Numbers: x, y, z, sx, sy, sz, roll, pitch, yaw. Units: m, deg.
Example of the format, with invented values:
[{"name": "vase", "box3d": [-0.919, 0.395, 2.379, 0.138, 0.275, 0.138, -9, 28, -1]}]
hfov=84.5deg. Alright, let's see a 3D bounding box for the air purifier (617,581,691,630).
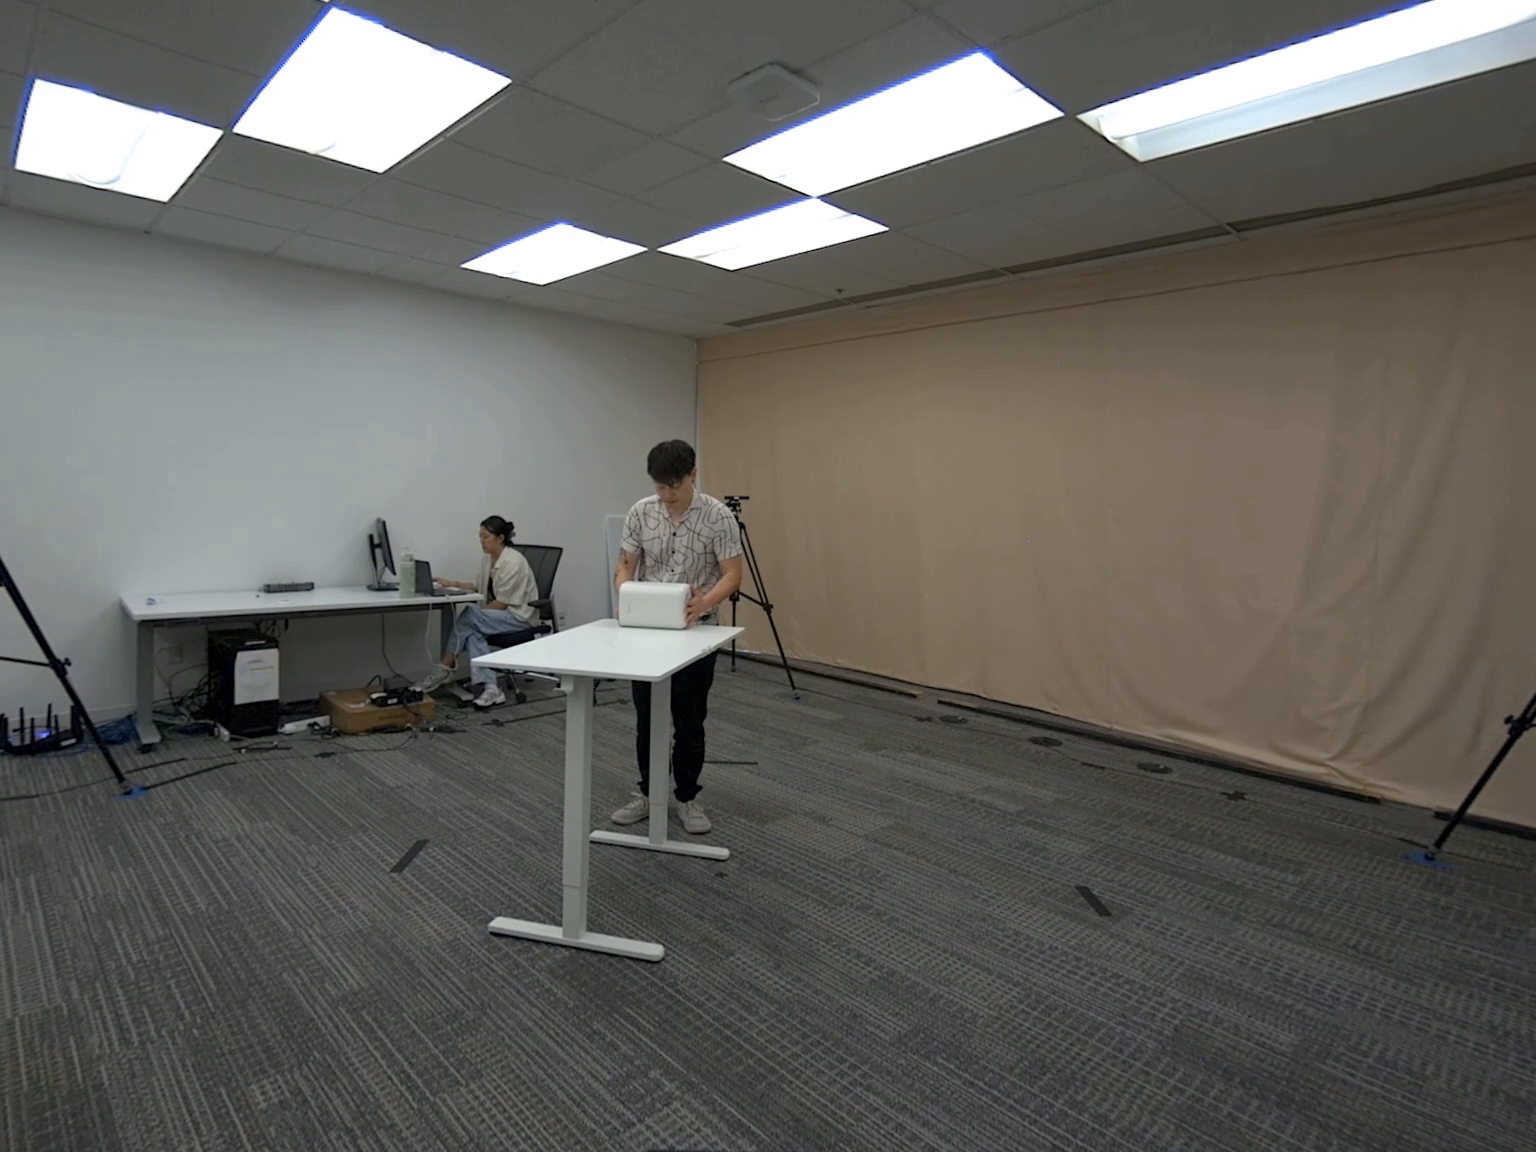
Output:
[{"name": "air purifier", "box3d": [-0.445, 0.109, 3.292, 0.267, 0.170, 0.171, 3, 6, 9]}]
